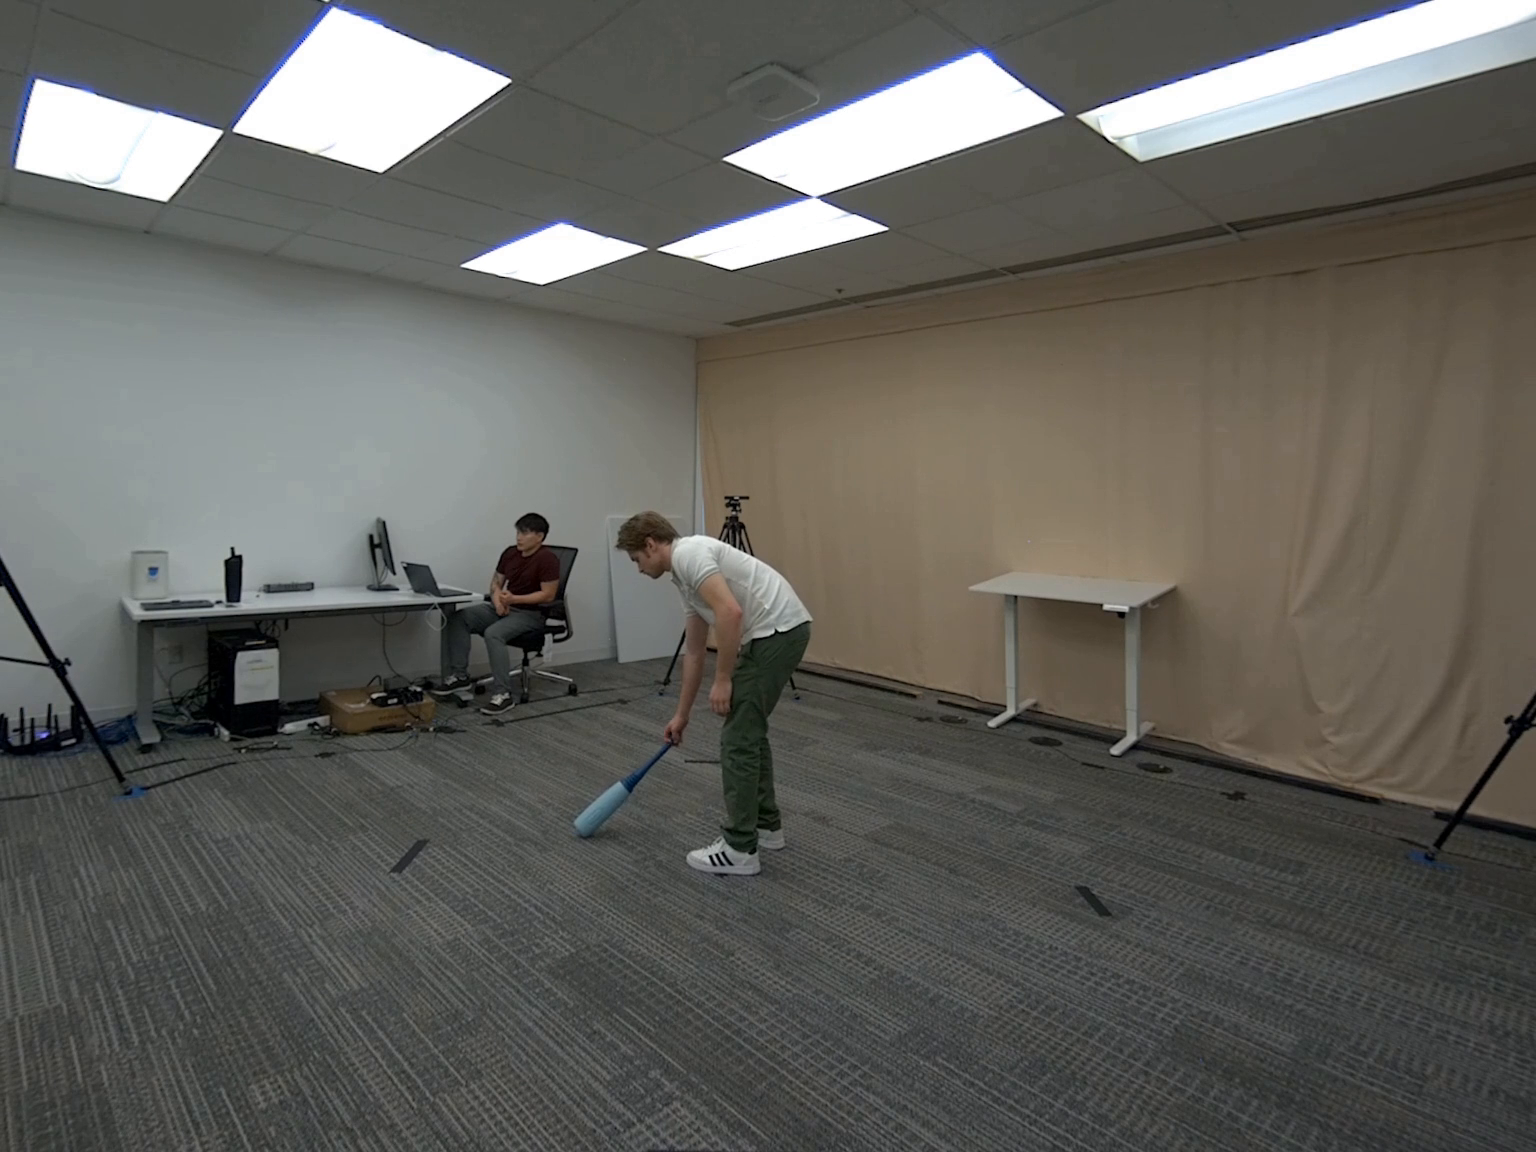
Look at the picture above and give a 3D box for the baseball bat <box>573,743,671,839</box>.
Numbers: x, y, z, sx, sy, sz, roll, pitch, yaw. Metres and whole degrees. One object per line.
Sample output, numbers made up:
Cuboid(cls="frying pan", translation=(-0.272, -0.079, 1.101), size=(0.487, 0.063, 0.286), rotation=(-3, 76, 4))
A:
Cuboid(cls="baseball bat", translation=(-0.586, 0.858, 3.473), size=(0.542, 0.087, 0.091), rotation=(-43, 18, -14))
